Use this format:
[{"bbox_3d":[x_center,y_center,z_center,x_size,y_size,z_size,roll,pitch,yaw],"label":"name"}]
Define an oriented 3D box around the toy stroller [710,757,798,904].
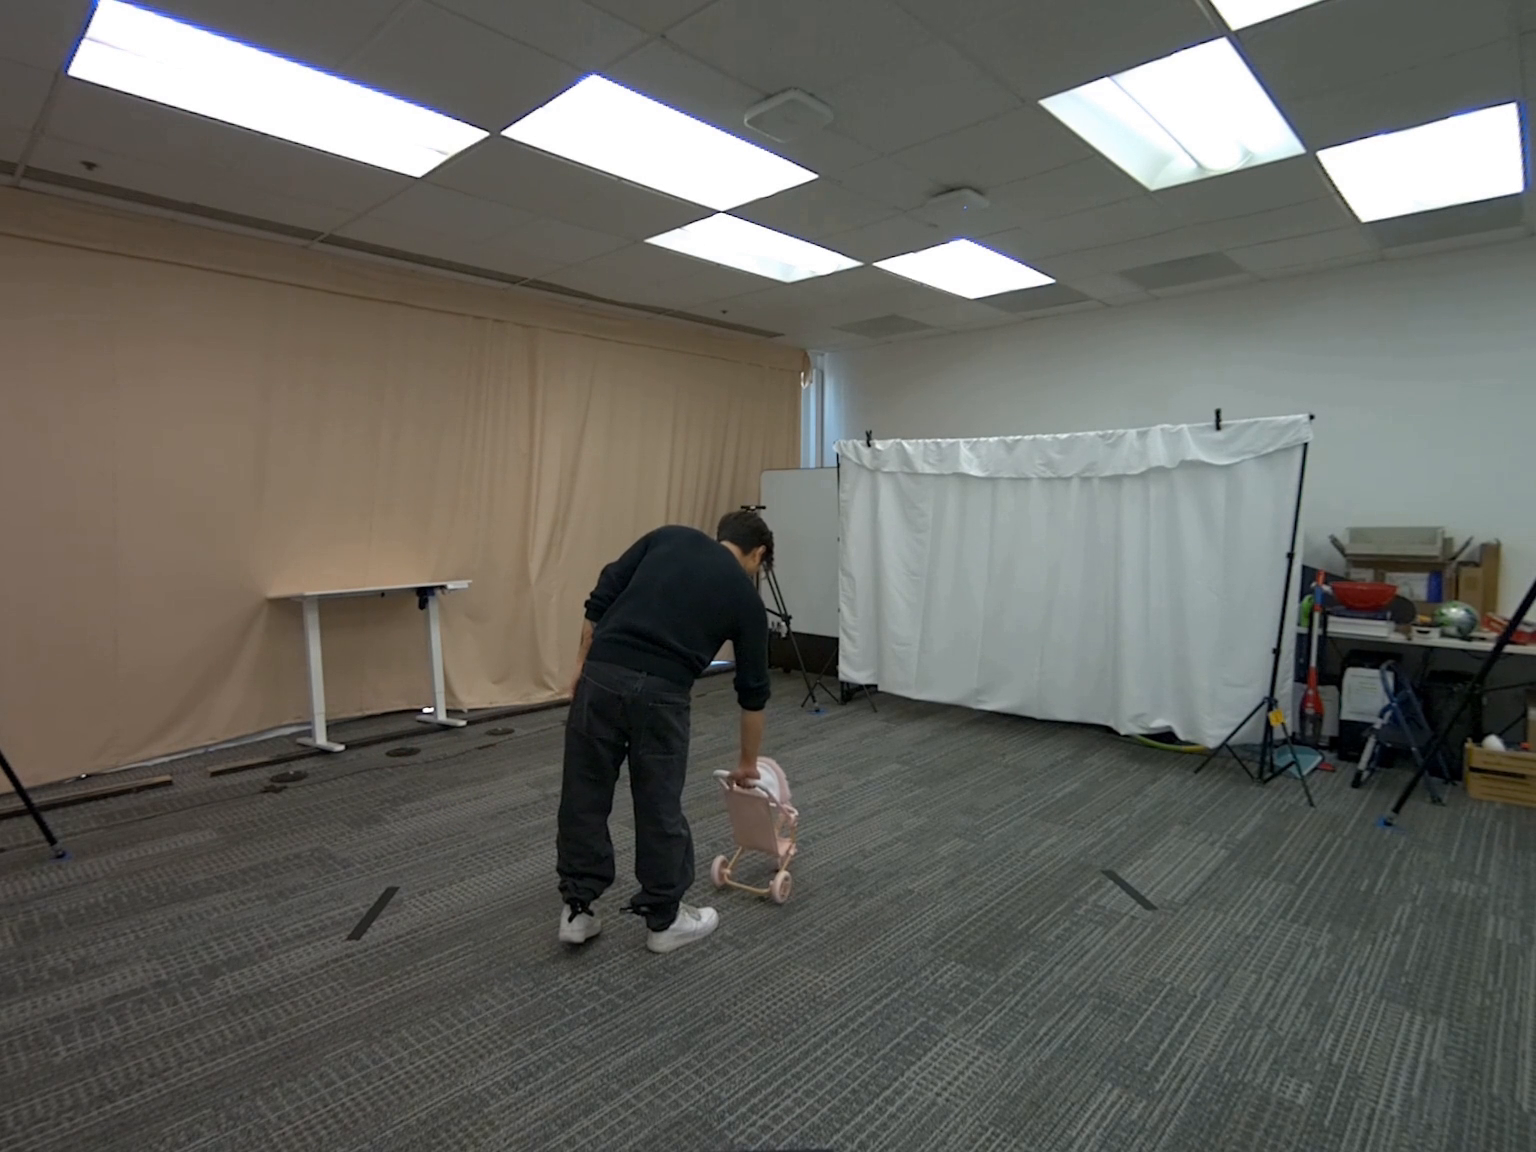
[{"bbox_3d":[-0.021,0.898,3.053,0.290,0.530,0.334,3,14,31],"label":"toy stroller"}]
